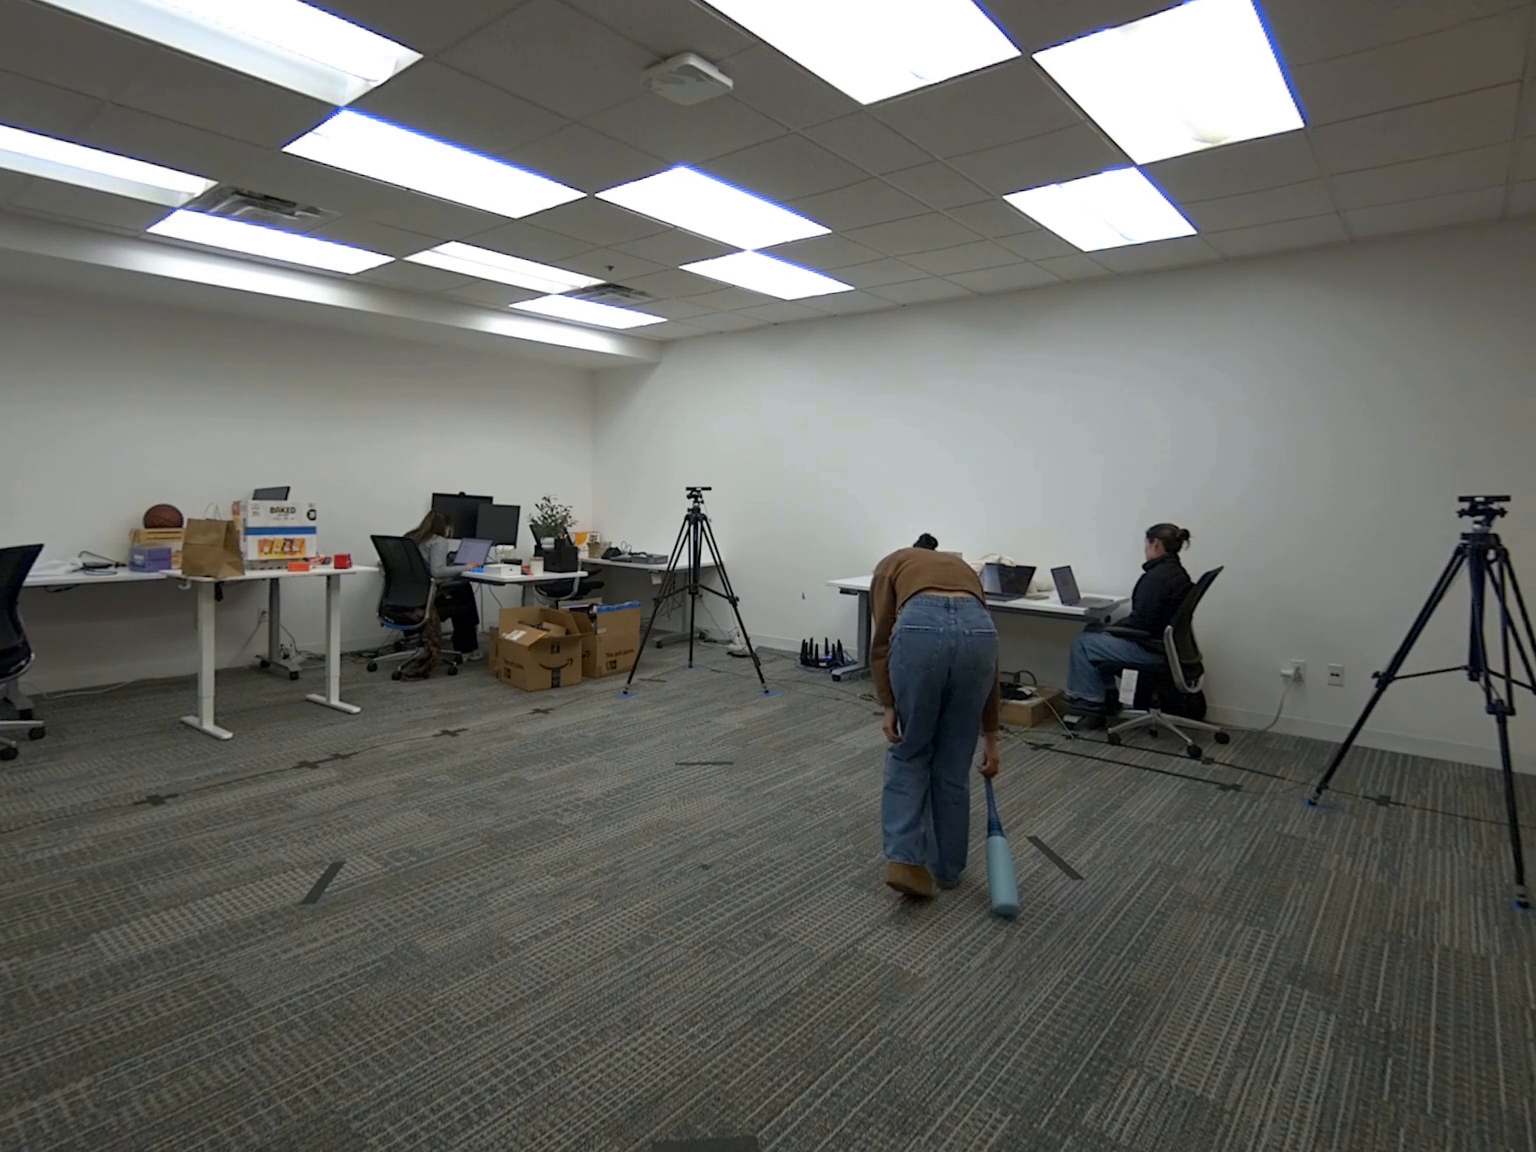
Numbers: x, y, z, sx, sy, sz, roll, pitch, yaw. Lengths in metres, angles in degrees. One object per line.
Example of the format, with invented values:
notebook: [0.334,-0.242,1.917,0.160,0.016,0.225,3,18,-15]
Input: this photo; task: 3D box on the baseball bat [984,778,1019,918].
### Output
baseball bat: [0.793,0.913,2.977,0.089,0.086,0.557,0,43,4]
